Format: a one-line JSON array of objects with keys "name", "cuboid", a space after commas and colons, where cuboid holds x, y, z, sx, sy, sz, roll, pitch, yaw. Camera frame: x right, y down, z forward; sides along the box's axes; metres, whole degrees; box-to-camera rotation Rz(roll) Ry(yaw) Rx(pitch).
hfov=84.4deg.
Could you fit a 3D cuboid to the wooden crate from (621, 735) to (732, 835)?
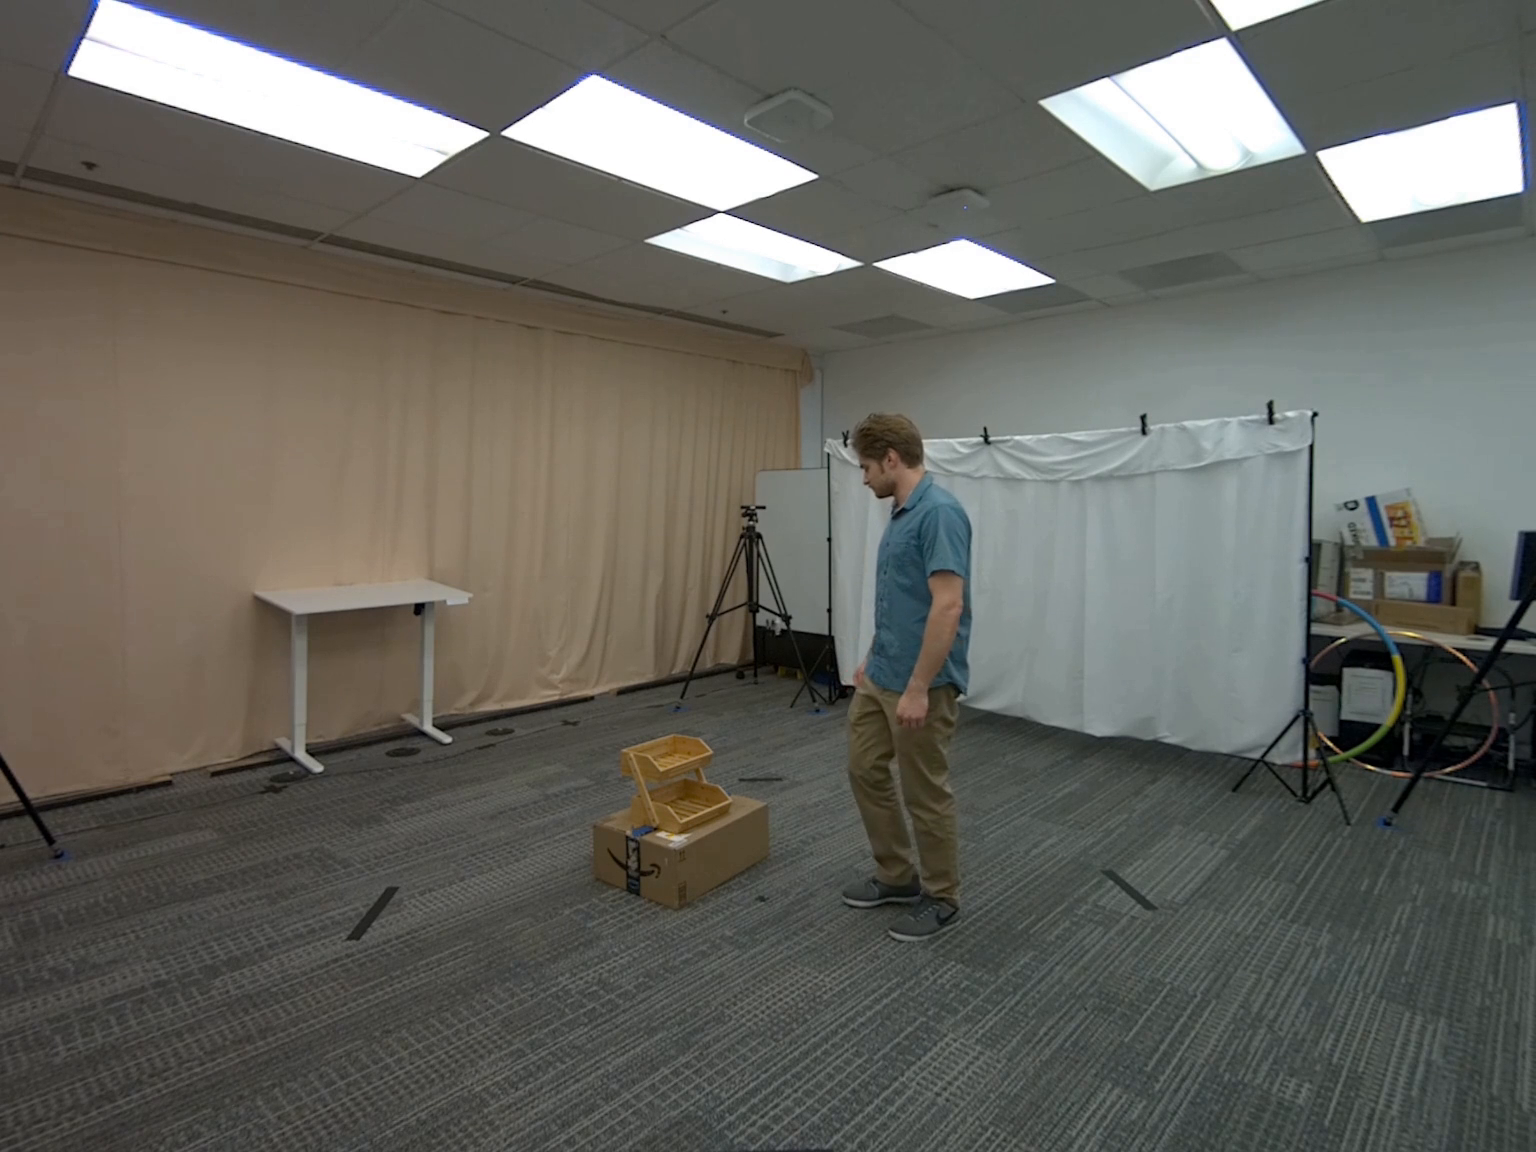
[{"name": "wooden crate", "cuboid": [-0.346, 0.781, 3.214, 0.311, 0.273, 0.315, 1, 3, 38]}]
